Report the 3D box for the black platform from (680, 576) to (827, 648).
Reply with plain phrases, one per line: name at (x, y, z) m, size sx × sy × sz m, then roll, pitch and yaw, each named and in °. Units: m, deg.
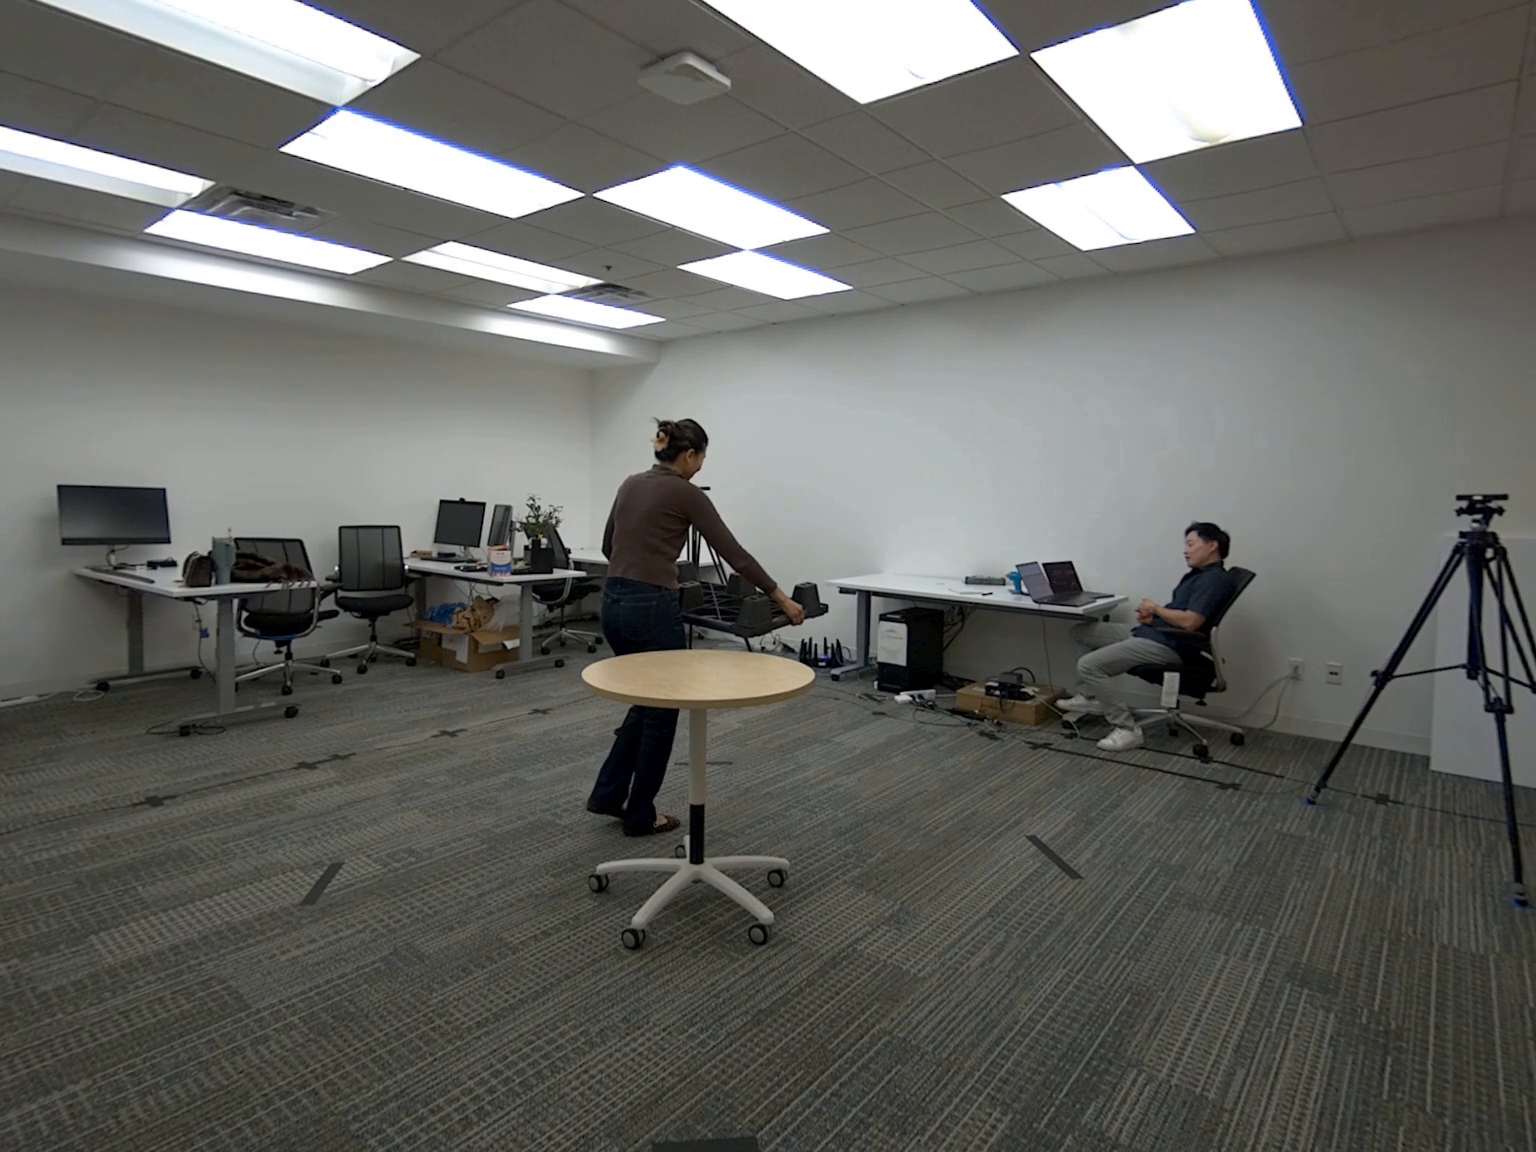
black platform at (-0.241, 0.072, 3.665) m, size 0.833 × 0.142 × 0.590 m, roll 10°, pitch 13°, yaw 35°
